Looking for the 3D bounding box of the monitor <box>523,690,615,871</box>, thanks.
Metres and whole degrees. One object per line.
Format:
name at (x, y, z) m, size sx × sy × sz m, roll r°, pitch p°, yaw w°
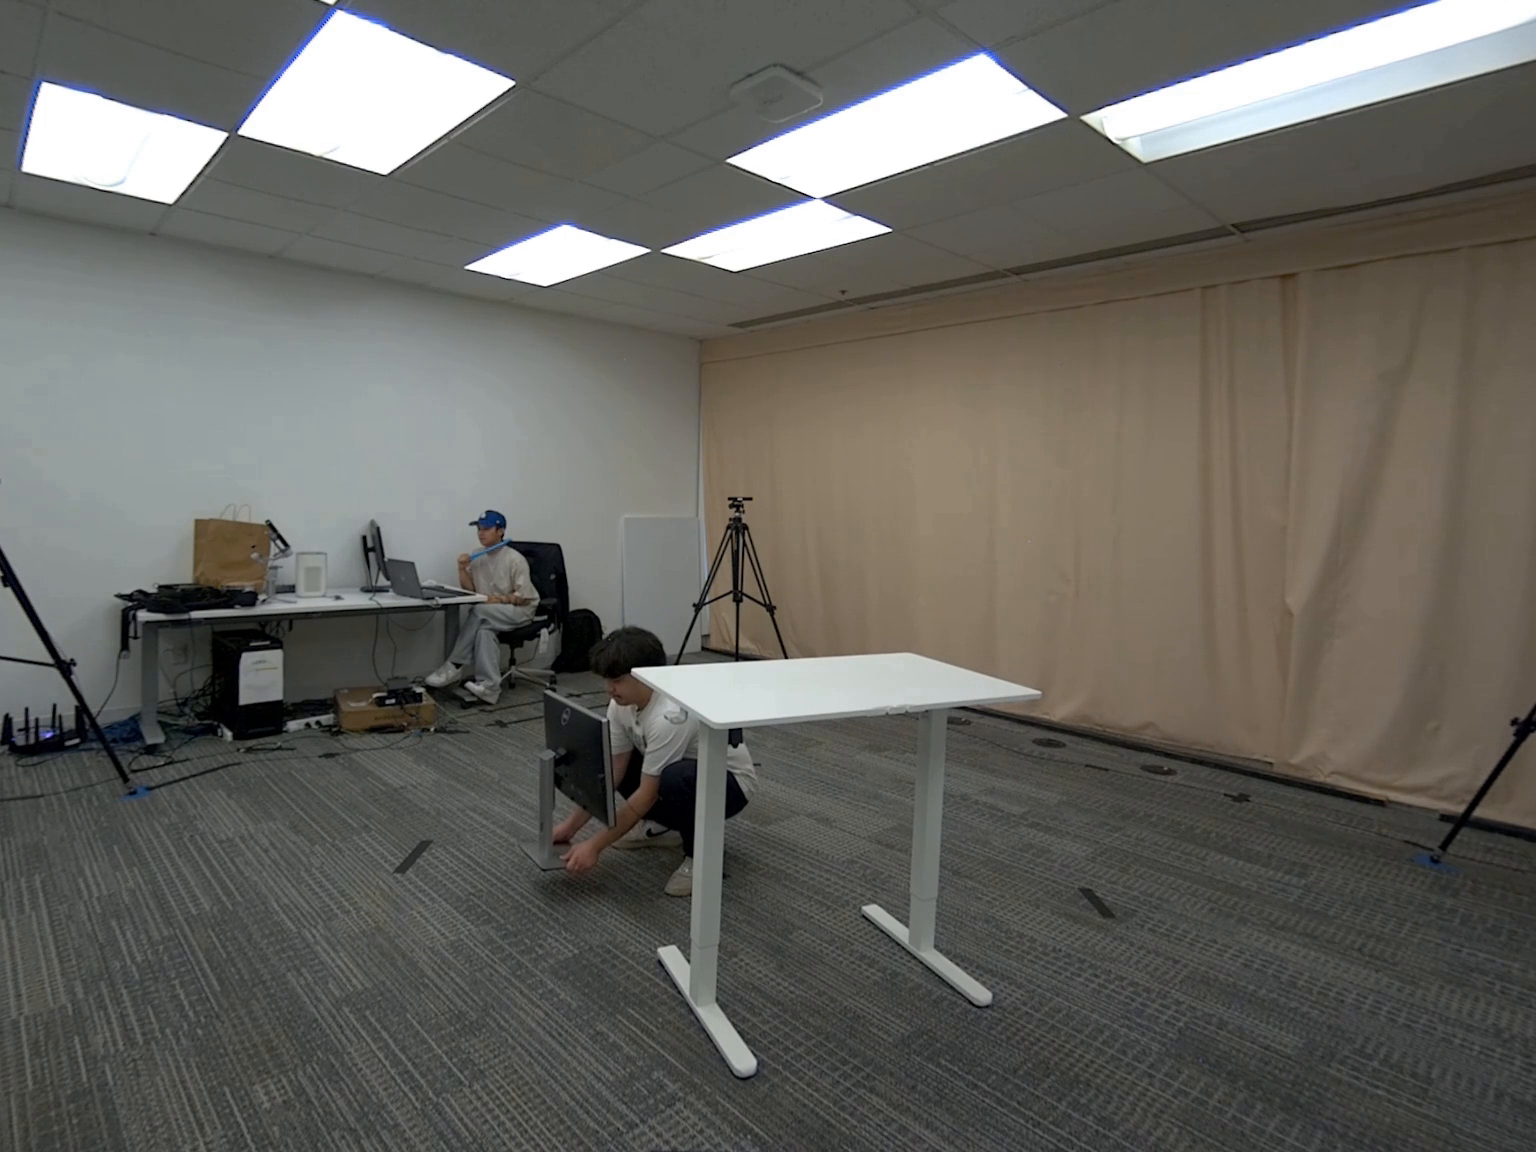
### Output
monitor at (-0.735, 0.723, 2.960) m, size 0.205 × 0.553 × 0.579 m, roll 0°, pitch 3°, yaw -34°
